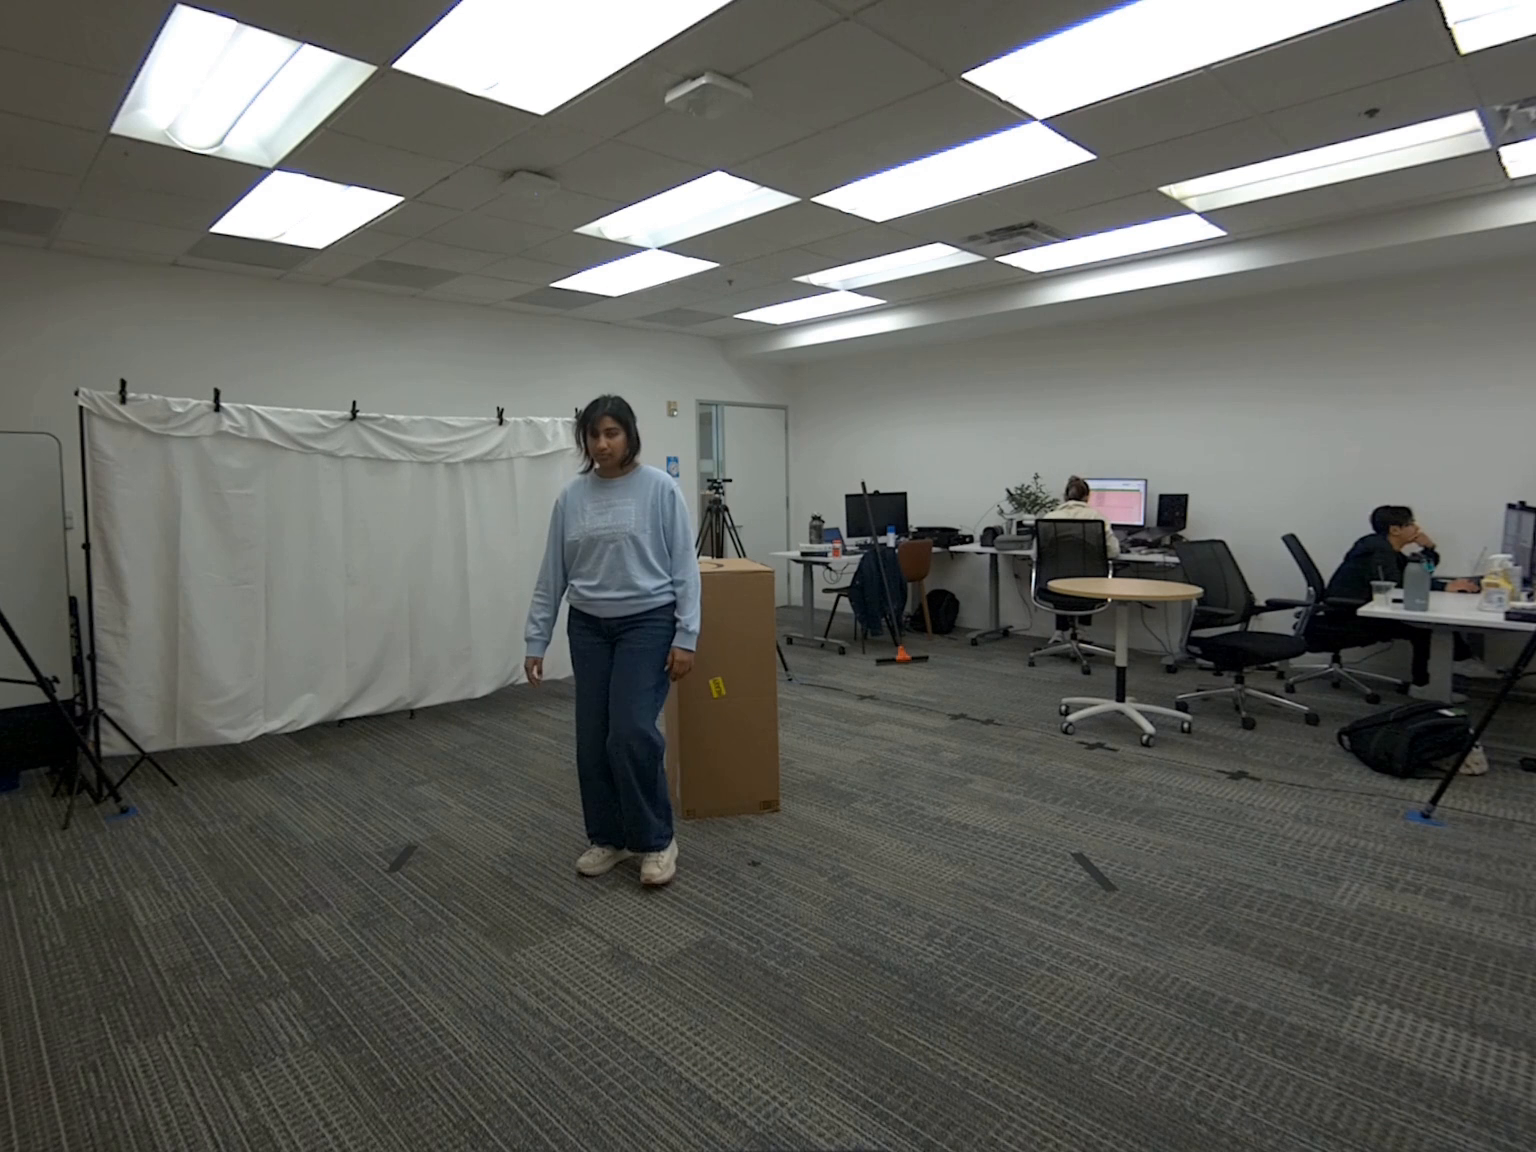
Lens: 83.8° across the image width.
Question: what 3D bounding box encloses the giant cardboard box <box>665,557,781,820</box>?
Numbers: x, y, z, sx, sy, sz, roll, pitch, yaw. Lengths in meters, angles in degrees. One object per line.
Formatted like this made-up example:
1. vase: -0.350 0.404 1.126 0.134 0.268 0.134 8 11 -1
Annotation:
1. giant cardboard box: -0.229 0.460 3.807 0.442 1.024 0.592 -2 4 -11
